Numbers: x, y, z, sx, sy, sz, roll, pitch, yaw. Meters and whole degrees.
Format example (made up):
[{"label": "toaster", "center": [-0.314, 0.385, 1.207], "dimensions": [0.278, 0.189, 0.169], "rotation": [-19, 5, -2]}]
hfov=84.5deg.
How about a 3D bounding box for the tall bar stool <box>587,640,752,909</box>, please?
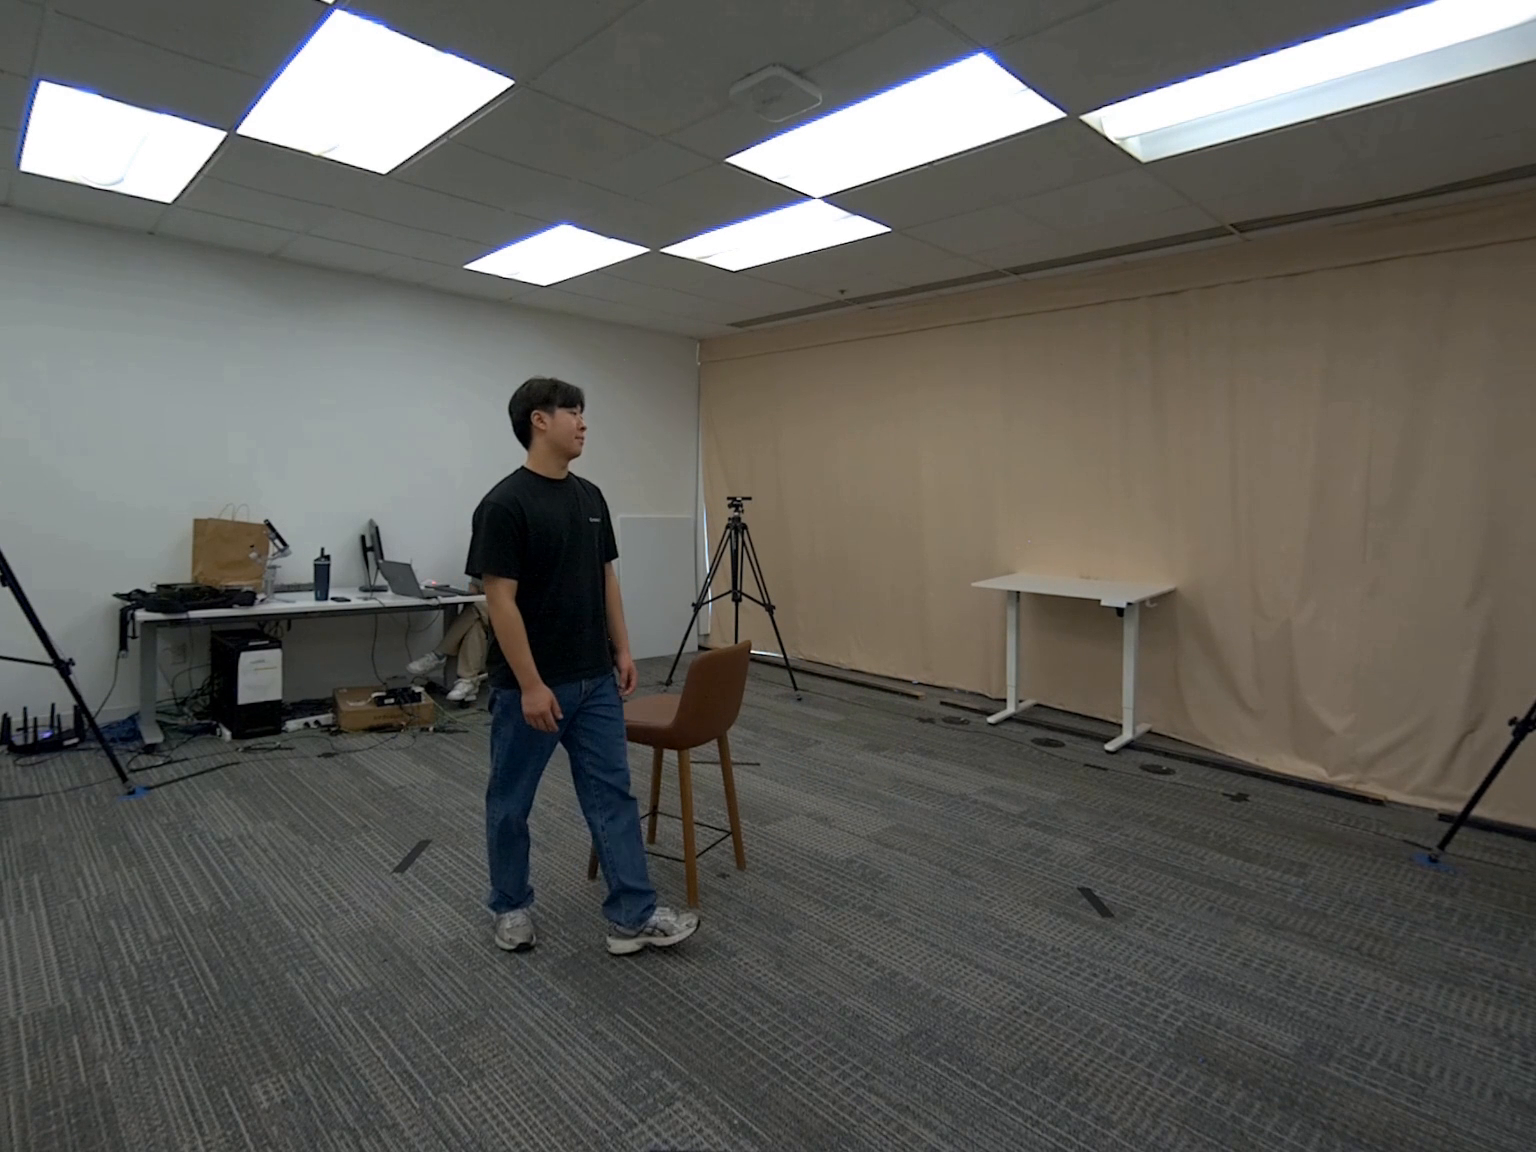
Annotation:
[{"label": "tall bar stool", "center": [-0.355, 0.671, 3.090], "dimensions": [0.478, 0.887, 0.448], "rotation": [5, 6, 29]}]
